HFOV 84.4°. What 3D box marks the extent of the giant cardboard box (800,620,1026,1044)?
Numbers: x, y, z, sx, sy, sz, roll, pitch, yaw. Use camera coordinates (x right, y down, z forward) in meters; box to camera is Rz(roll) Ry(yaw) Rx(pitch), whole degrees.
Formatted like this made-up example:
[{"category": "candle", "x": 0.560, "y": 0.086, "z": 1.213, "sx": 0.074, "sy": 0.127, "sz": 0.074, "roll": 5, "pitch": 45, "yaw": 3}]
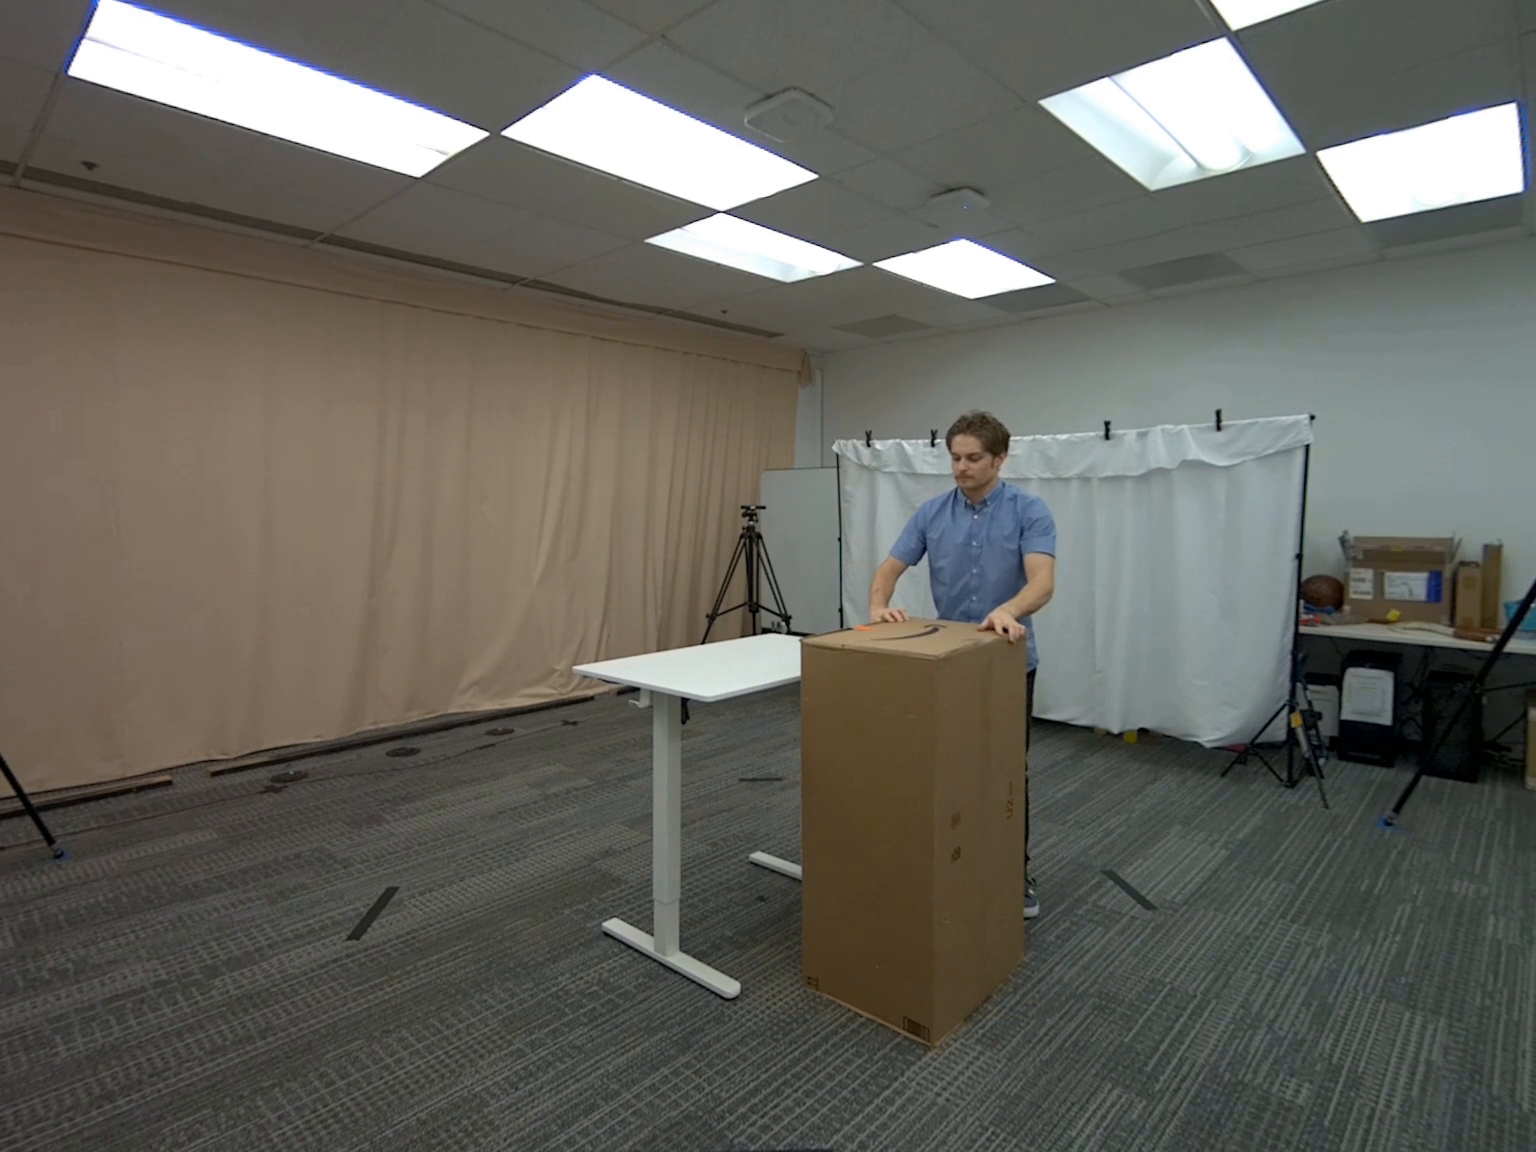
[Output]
[{"category": "giant cardboard box", "x": 0.438, "y": 0.676, "z": 2.471, "sx": 0.440, "sy": 1.023, "sz": 0.560, "roll": 3, "pitch": 5, "yaw": 41}]
